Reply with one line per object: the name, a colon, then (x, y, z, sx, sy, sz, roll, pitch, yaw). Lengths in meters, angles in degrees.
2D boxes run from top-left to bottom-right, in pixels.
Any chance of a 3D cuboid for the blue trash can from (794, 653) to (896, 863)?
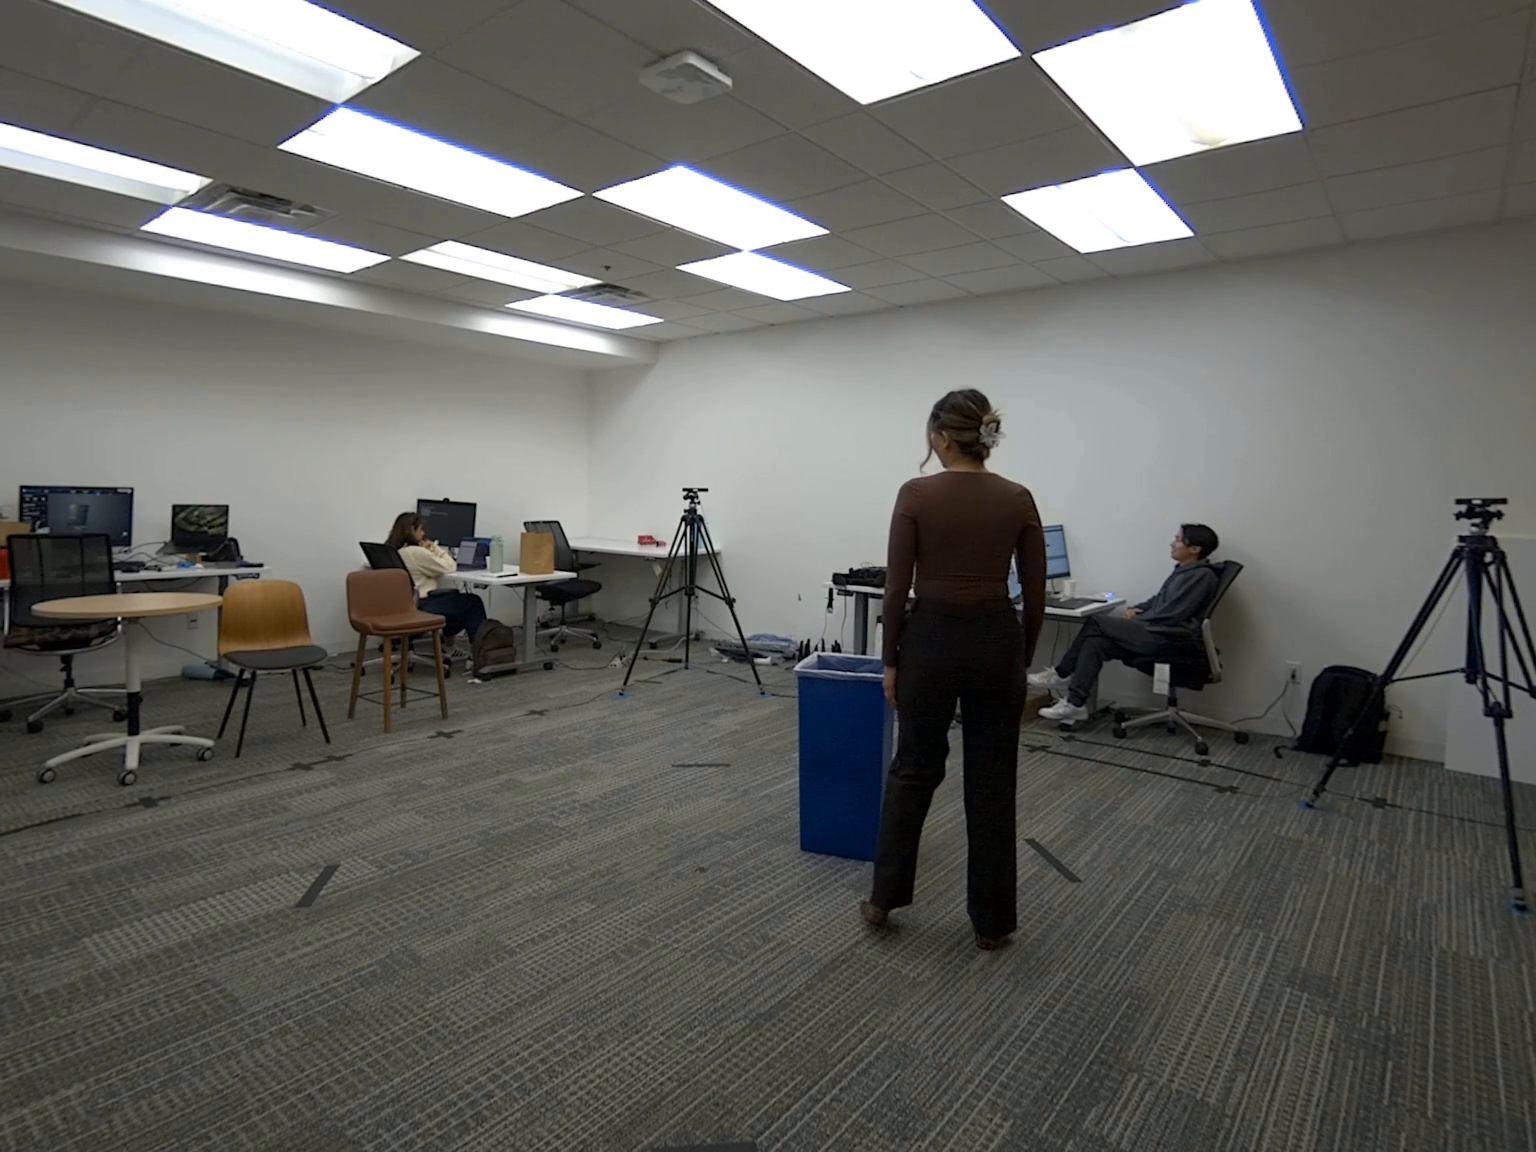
blue trash can: (0.295, 0.696, 3.369, 0.382, 0.712, 0.371, 2, 3, 18)
